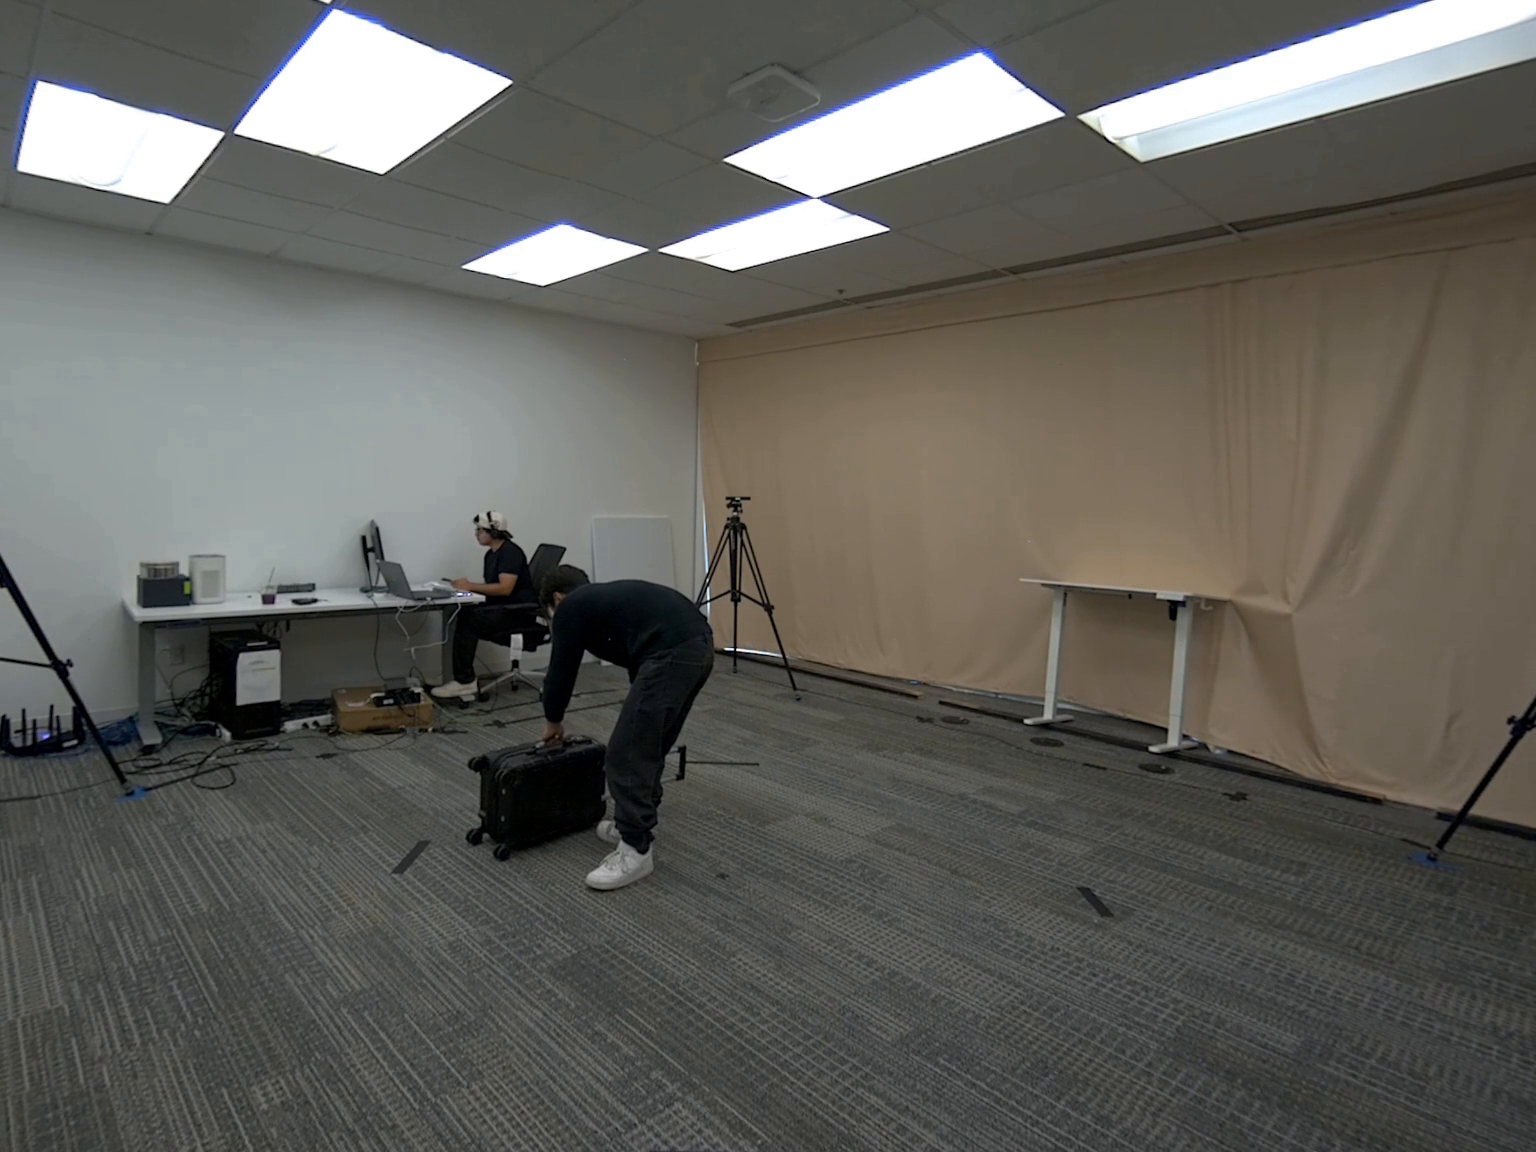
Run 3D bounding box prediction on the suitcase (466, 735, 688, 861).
[{"bbox_3d":[-0.800,0.857,3.595,0.264,0.383,0.957,6,7,40],"label":"suitcase"}]
